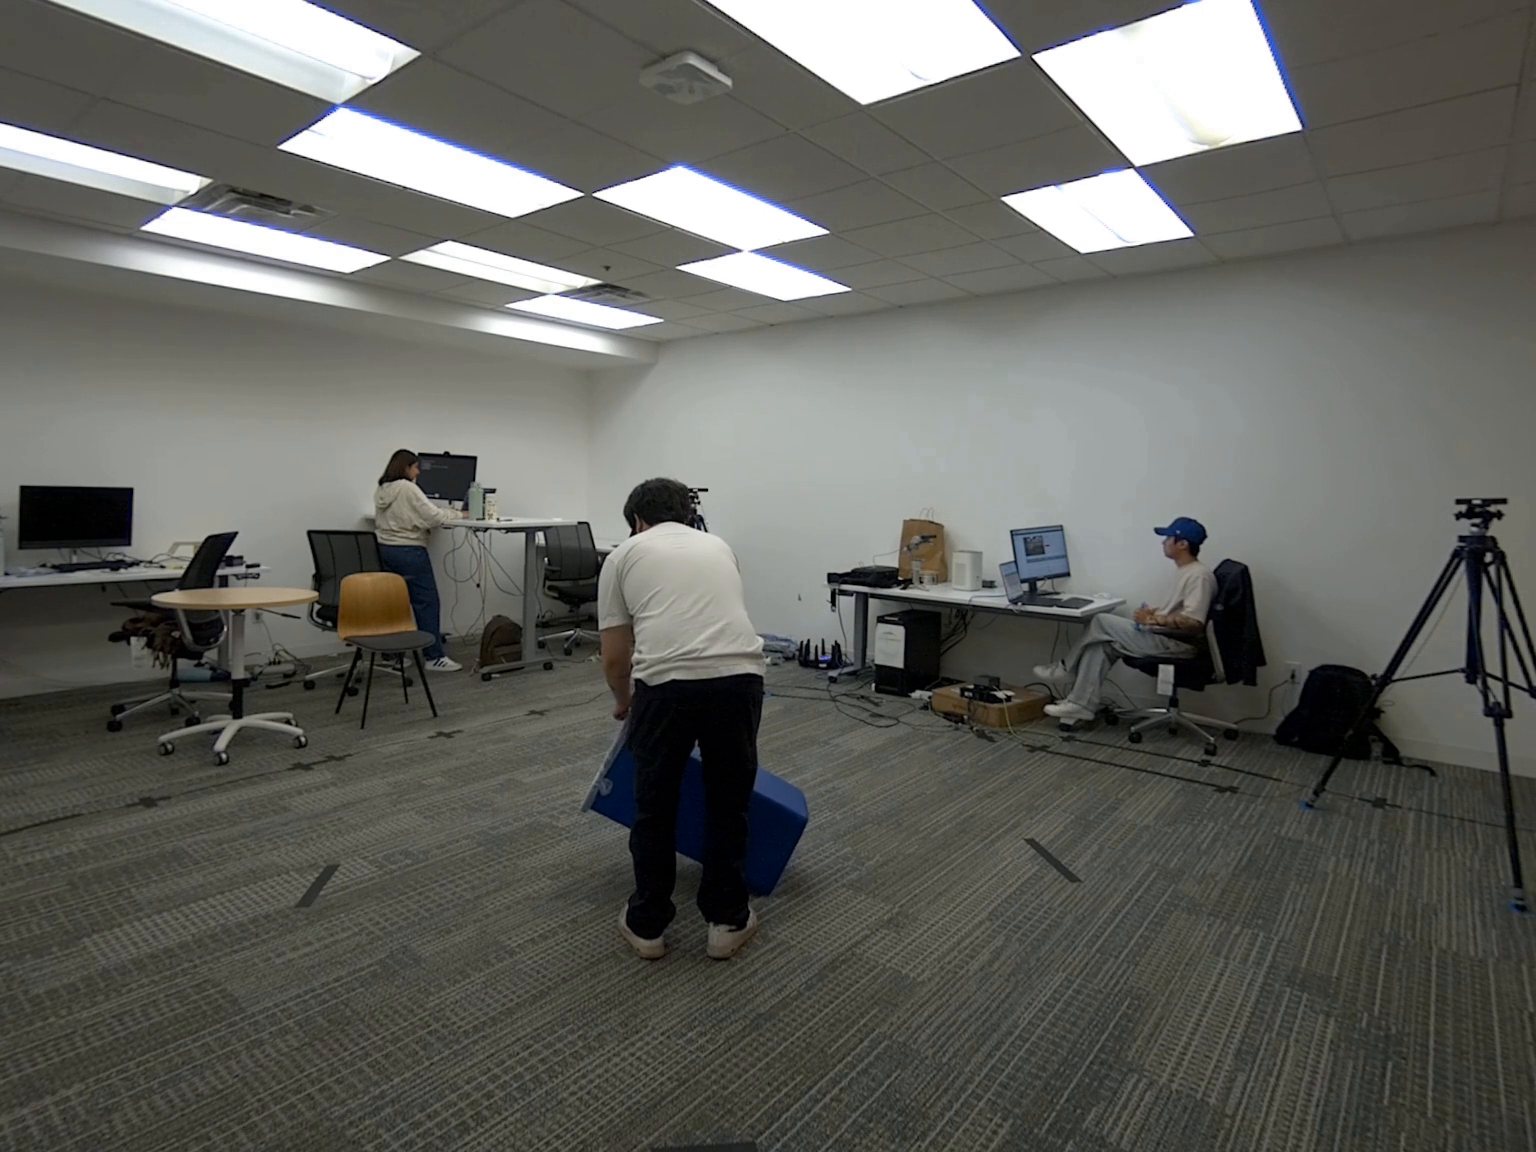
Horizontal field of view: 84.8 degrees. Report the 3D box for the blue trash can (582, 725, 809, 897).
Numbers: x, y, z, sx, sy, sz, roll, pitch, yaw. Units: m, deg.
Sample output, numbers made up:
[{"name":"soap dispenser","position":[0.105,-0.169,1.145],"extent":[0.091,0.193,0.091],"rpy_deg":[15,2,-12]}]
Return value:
[{"name":"blue trash can","position":[-0.265,0.789,3.057],"extent":[0.713,0.378,0.375],"rpy_deg":[29,2,-1]}]
